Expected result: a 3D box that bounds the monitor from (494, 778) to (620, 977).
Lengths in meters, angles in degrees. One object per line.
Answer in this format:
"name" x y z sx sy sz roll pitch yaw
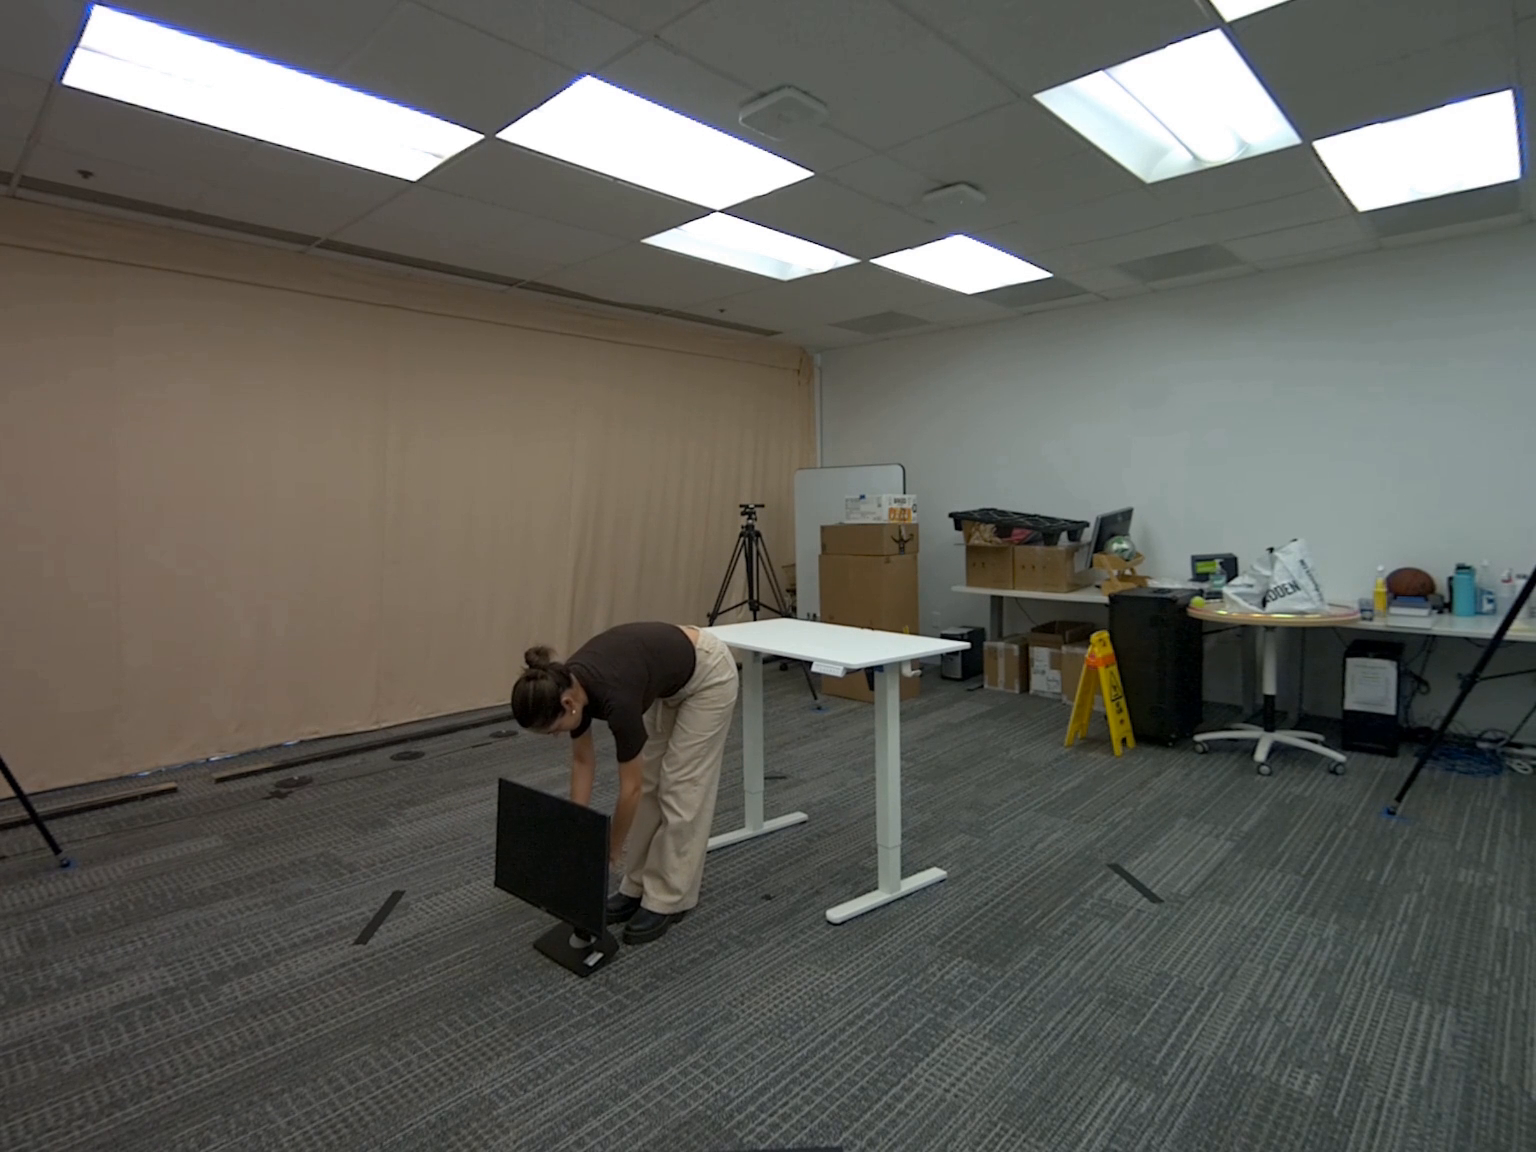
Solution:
"monitor" -0.629 0.921 2.599 0.556 0.518 0.182 2 14 38
